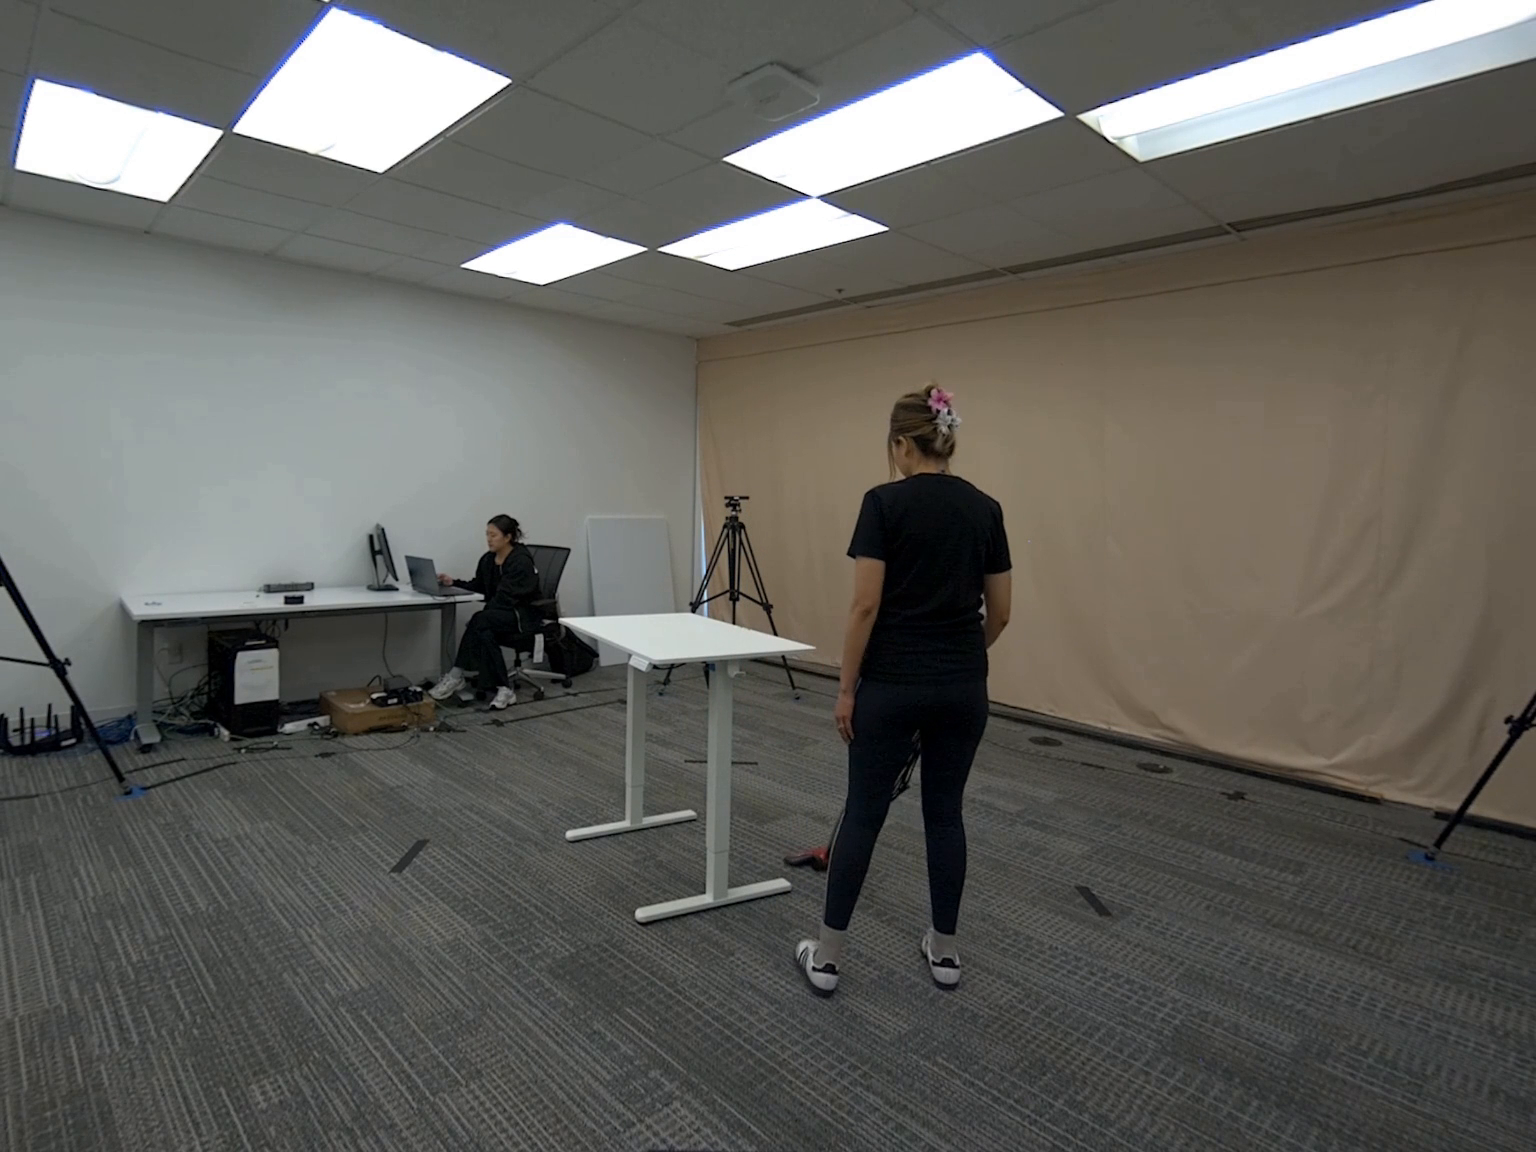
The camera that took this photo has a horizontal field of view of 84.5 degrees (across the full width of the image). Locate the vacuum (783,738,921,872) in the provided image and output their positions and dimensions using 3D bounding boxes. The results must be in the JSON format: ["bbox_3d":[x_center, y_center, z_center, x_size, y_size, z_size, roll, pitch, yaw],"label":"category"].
[{"bbox_3d":[0.389,0.729,2.941,0.247,1.040,0.148,-5,47,-37],"label":"vacuum"}]
